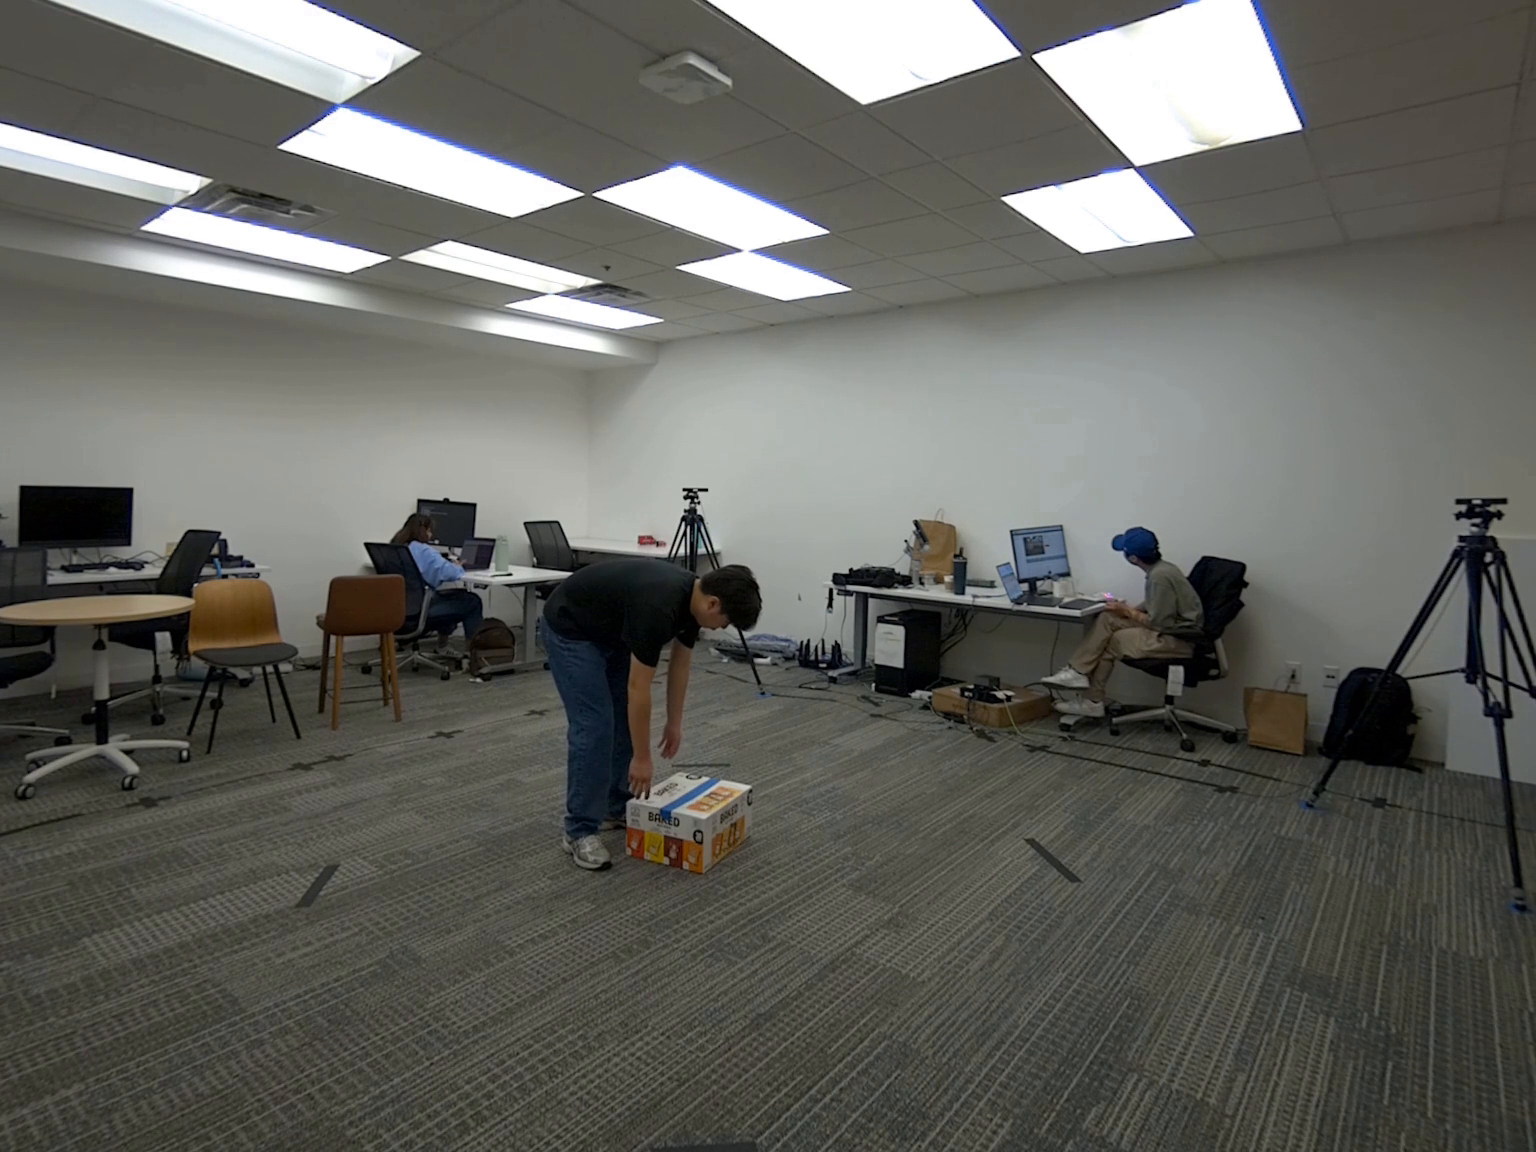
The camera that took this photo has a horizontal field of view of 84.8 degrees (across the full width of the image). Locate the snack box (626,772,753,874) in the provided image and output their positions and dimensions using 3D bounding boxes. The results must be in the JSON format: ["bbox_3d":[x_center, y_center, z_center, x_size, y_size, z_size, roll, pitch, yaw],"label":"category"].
[{"bbox_3d":[-0.313,0.945,3.314,0.349,0.205,0.396,3,6,26],"label":"snack box"}]
